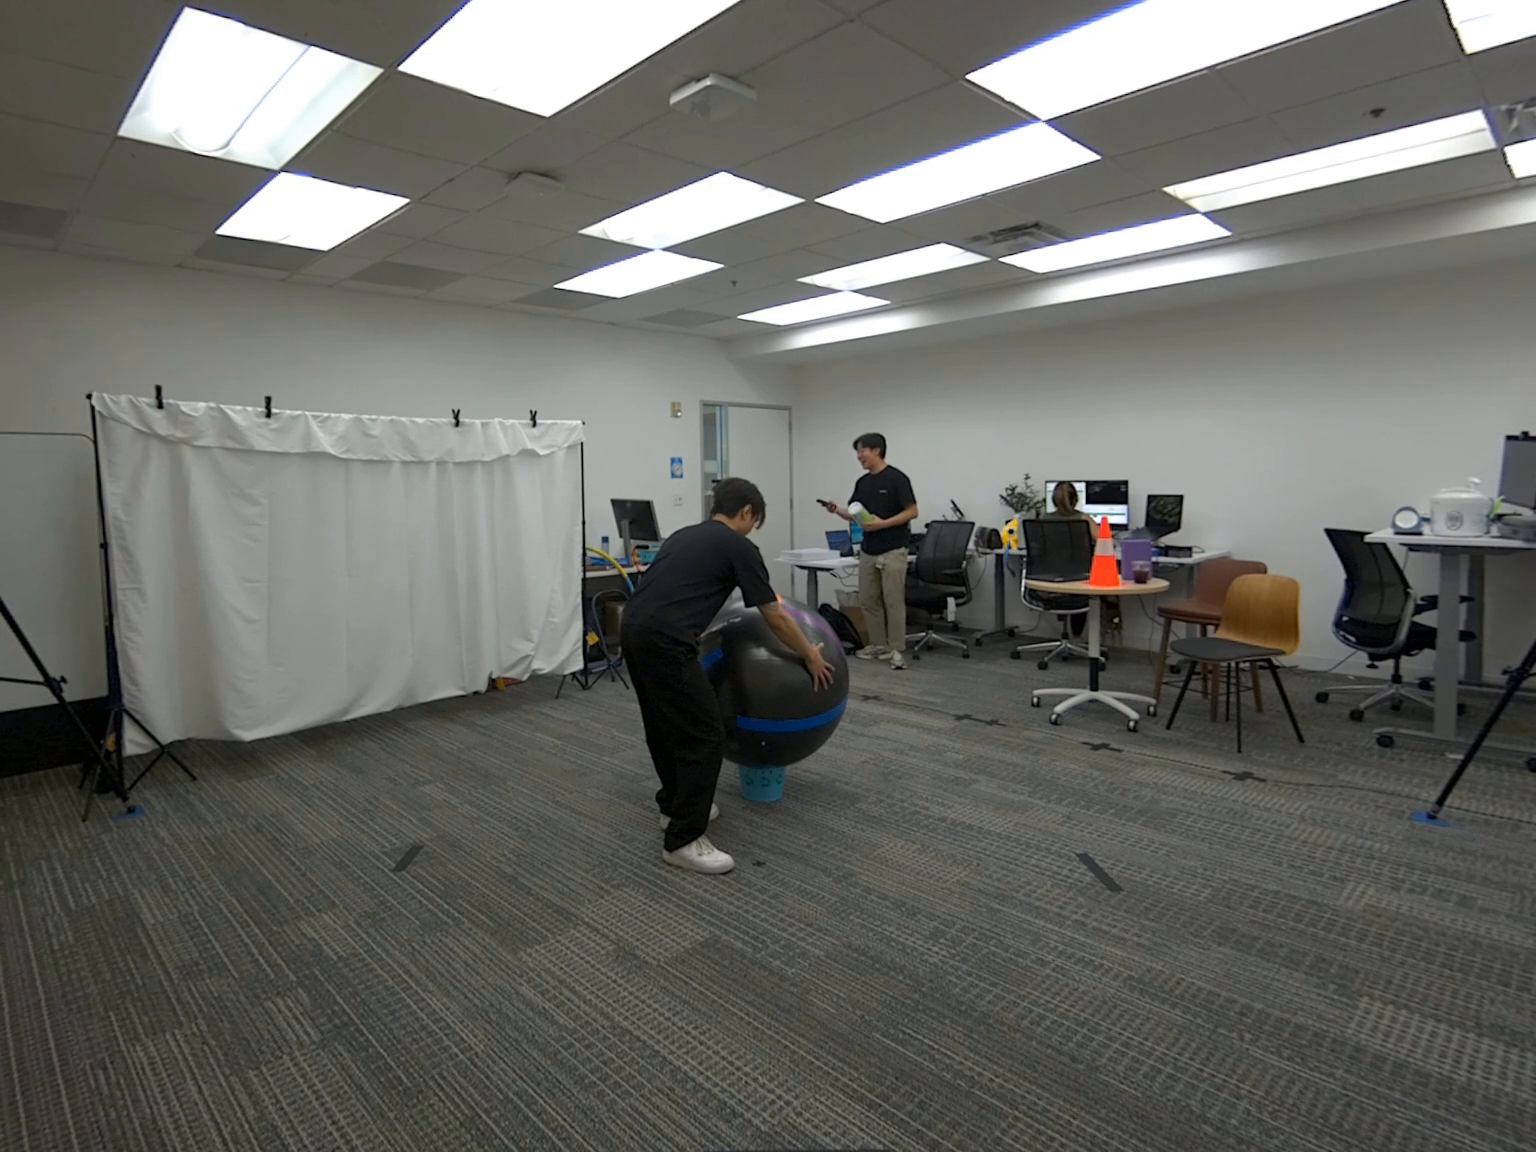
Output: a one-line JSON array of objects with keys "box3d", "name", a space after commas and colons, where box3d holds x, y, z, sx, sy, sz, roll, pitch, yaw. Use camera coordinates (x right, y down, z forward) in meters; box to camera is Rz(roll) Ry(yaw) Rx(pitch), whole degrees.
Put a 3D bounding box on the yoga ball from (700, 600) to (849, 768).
[{"box3d": [-0.016, 0.461, 3.780, 0.757, 0.755, 0.762, -1, 5, -2], "name": "yoga ball"}]
